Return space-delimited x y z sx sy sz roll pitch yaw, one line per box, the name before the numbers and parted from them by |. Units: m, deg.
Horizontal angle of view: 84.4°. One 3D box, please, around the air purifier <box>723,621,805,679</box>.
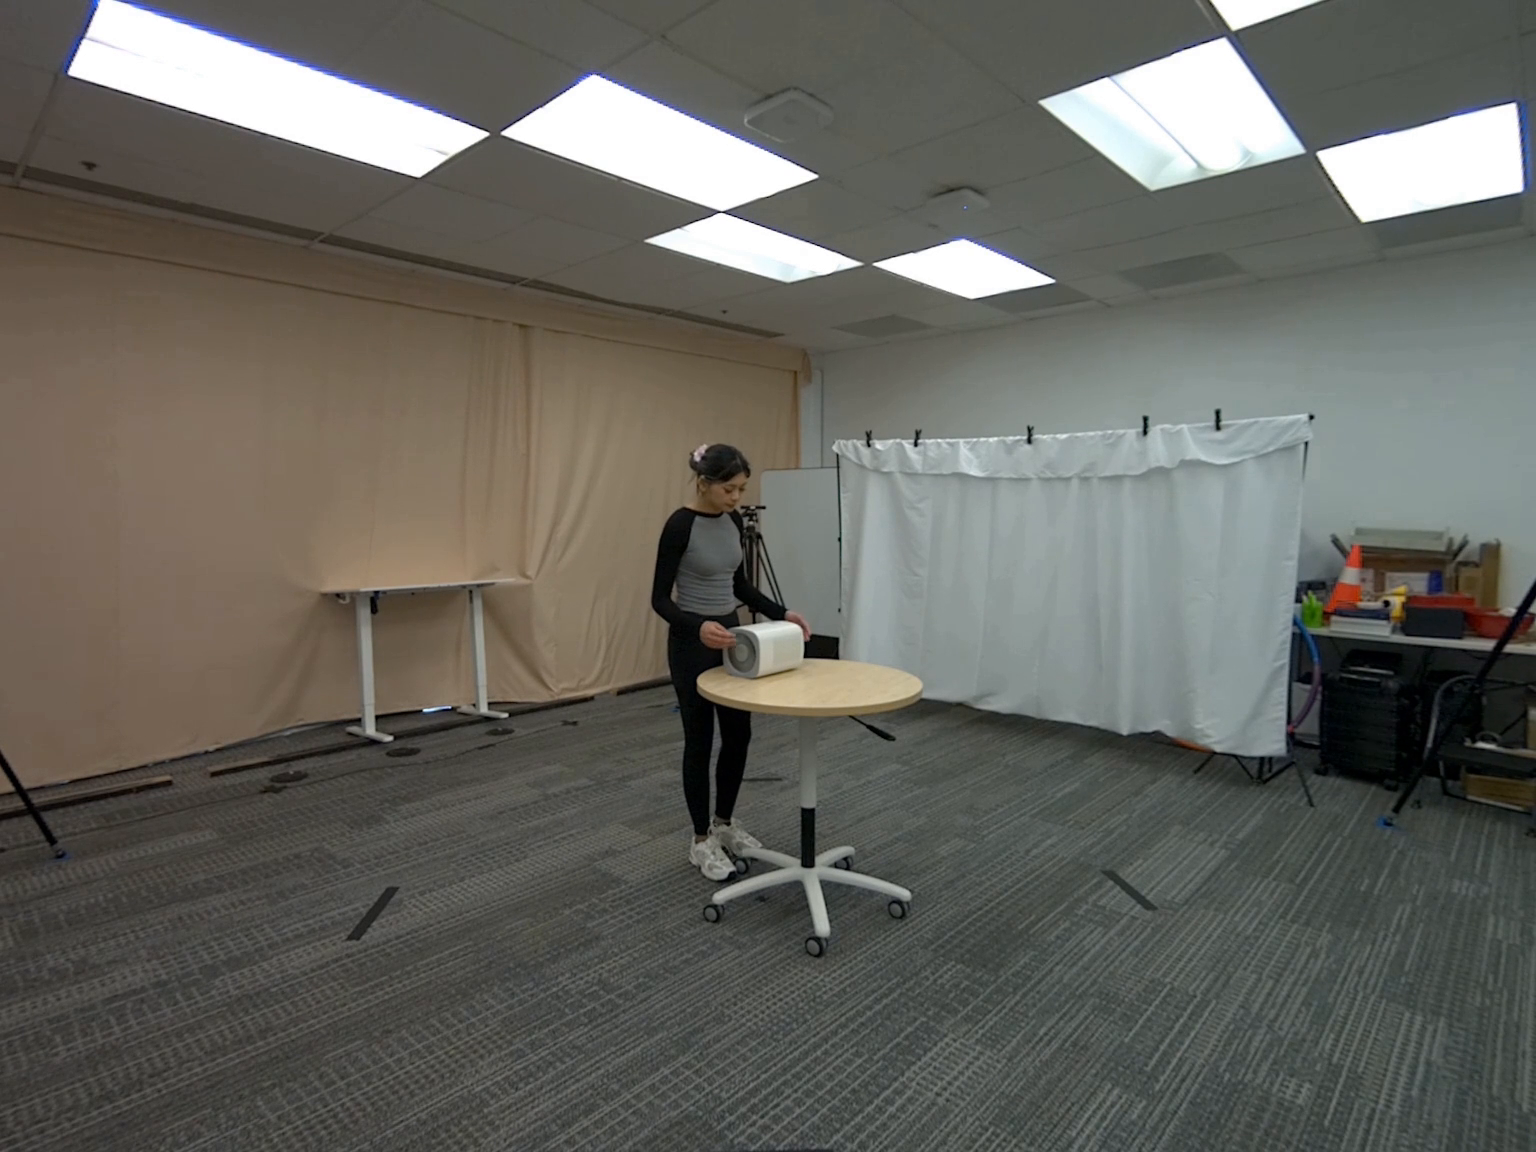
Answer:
air purifier | -0.004 0.257 3.023 0.177 0.171 0.257 3 5 42
